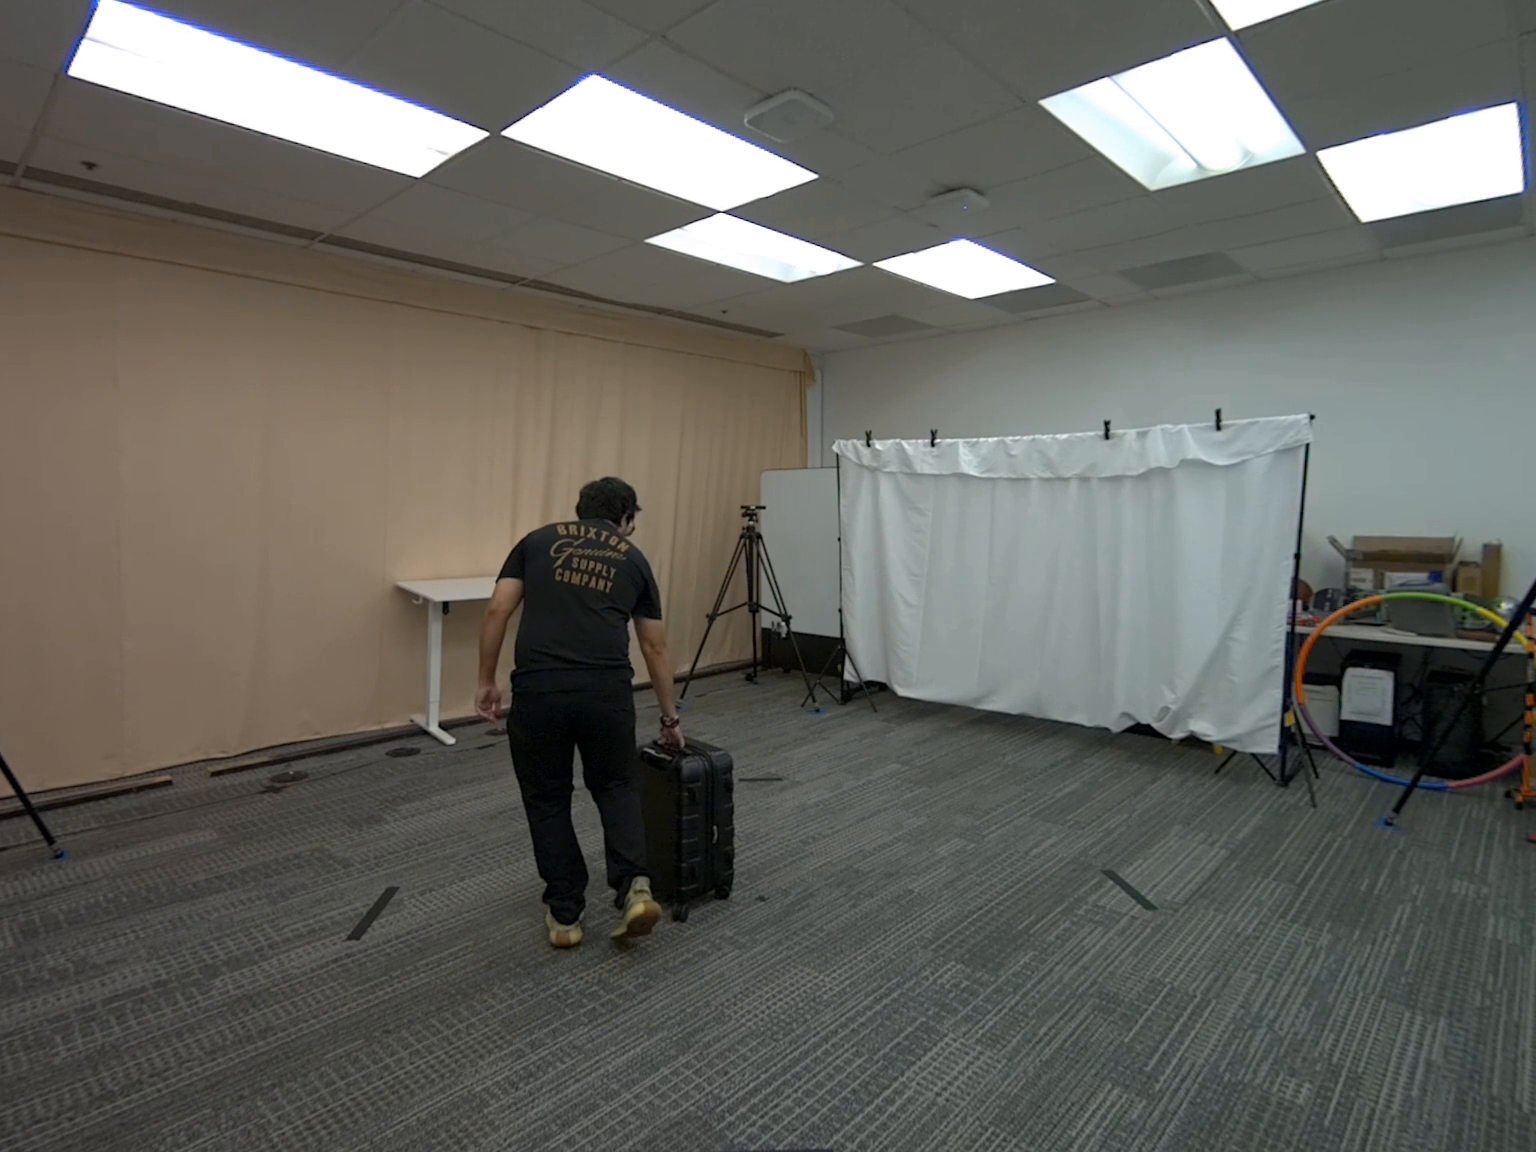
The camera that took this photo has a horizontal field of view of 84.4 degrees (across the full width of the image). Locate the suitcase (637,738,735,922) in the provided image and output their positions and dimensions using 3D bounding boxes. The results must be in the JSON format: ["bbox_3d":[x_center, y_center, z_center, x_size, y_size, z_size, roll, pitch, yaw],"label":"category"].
[{"bbox_3d":[-0.312,0.872,3.018,0.240,0.548,0.388,0,3,-43],"label":"suitcase"}]
